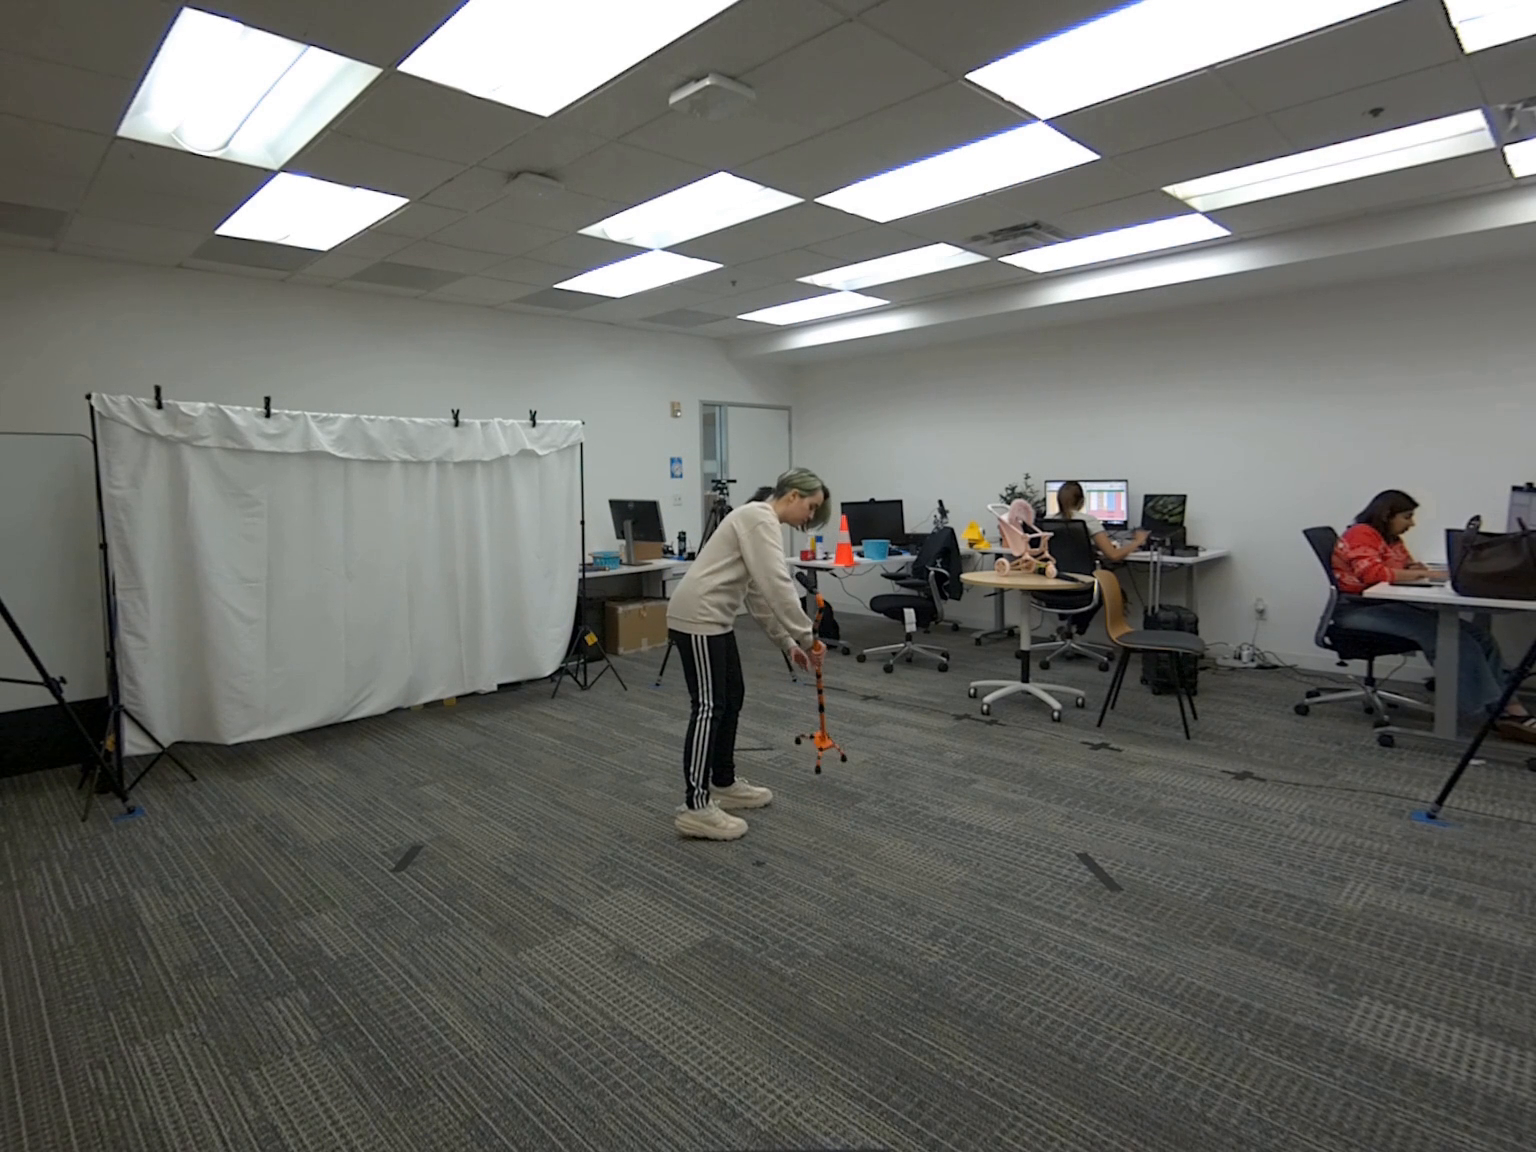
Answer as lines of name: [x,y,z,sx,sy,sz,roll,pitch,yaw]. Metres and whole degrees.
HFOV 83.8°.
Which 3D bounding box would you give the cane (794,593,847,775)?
cane: [0.189,0.391,3.386,0.150,0.883,0.215,-19,37,-21]
